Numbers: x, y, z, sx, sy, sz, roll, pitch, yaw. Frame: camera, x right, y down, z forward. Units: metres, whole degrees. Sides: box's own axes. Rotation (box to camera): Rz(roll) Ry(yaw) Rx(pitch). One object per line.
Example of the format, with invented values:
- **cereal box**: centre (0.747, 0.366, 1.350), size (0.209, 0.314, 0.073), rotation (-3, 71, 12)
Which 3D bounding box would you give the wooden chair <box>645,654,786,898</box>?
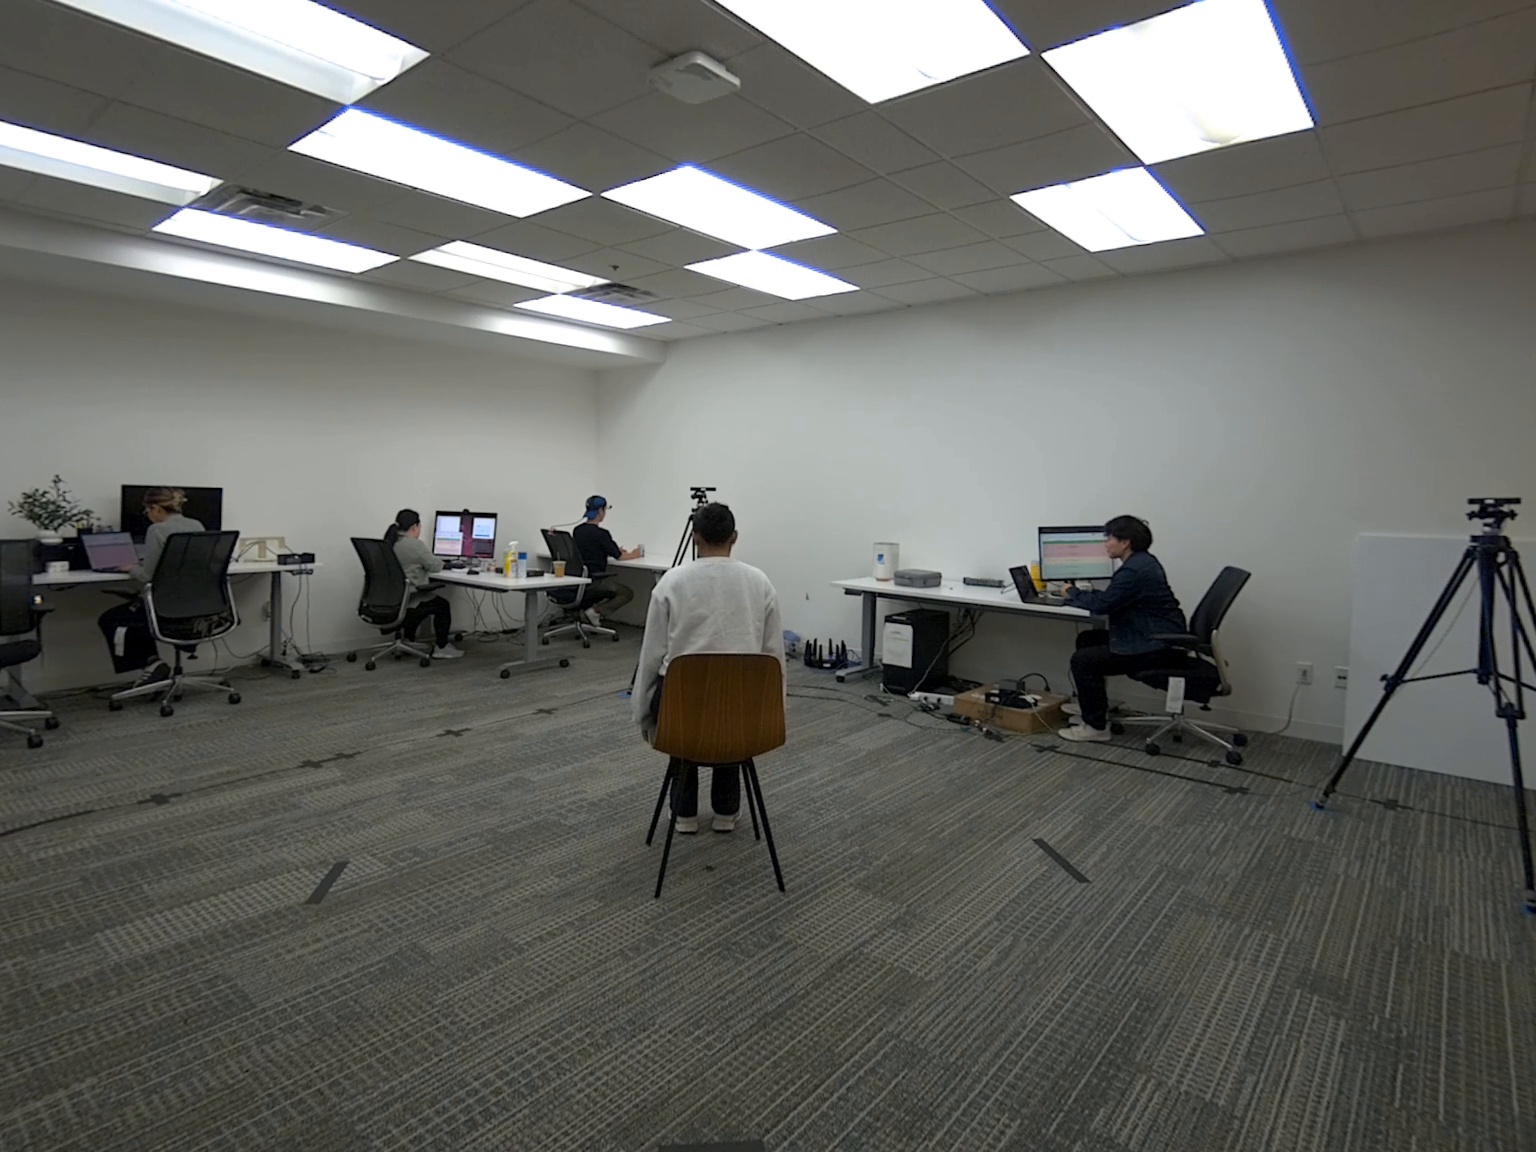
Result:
- **wooden chair**: centre (-0.212, 0.640, 3.108), size (0.473, 0.872, 0.532), rotation (0, 7, -11)
